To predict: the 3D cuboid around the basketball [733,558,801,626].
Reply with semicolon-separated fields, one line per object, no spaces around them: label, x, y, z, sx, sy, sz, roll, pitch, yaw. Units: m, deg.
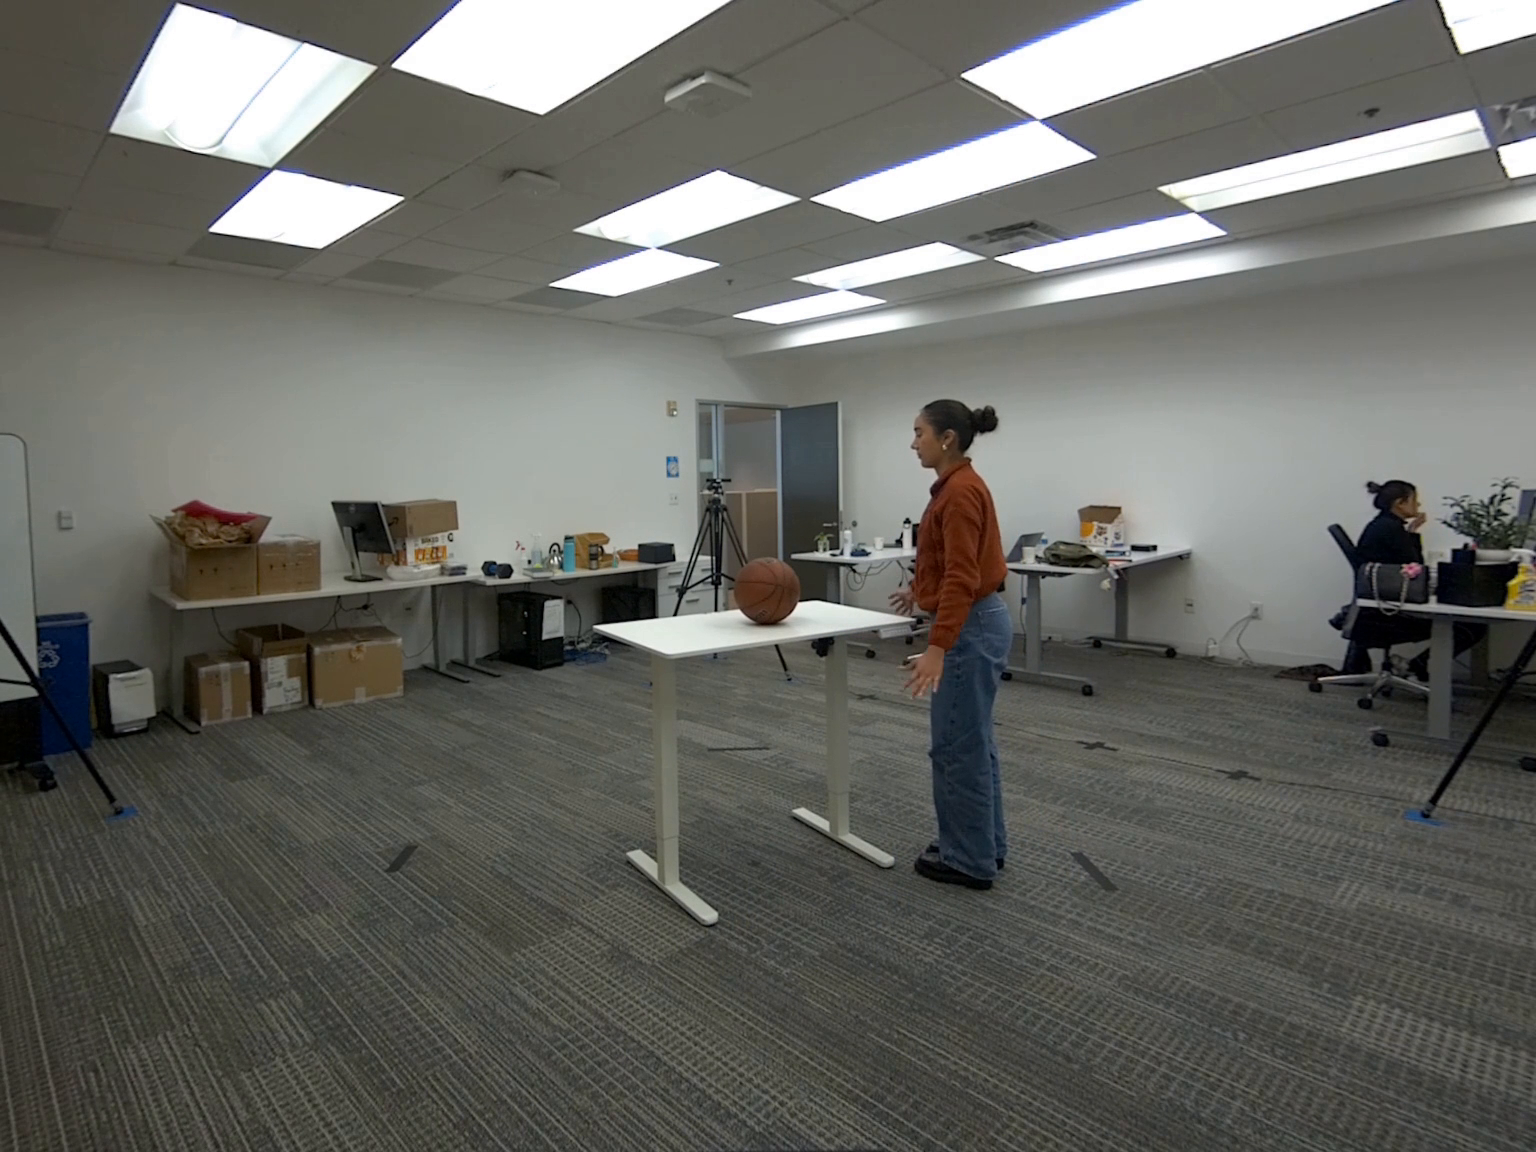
basketball;0.007;0.053;3.034;0.236;0.235;0.237;-1;5;-2
